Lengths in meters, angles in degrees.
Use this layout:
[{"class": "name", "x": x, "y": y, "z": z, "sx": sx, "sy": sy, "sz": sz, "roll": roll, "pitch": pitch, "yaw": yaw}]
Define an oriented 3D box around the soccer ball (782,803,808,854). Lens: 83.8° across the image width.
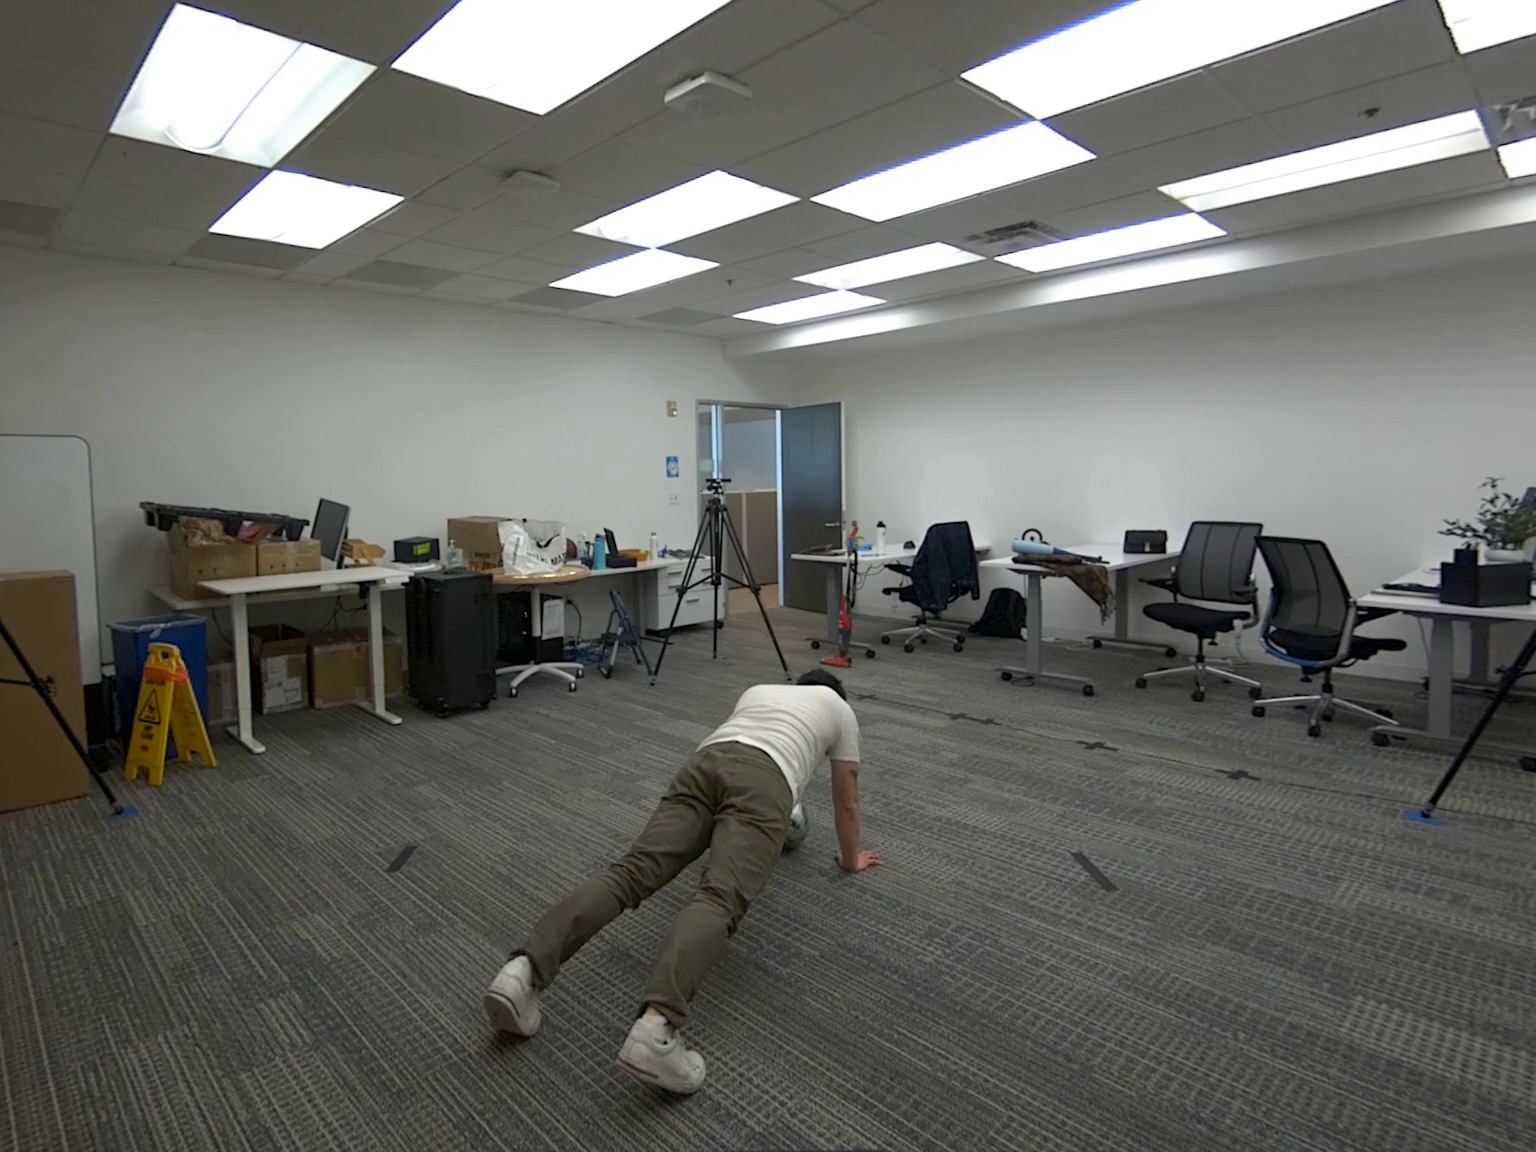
[{"class": "soccer ball", "x": 0.068, "y": 0.936, "z": 3.234, "sx": 0.187, "sy": 0.187, "sz": 0.188, "roll": -1, "pitch": 5, "yaw": -2}]
